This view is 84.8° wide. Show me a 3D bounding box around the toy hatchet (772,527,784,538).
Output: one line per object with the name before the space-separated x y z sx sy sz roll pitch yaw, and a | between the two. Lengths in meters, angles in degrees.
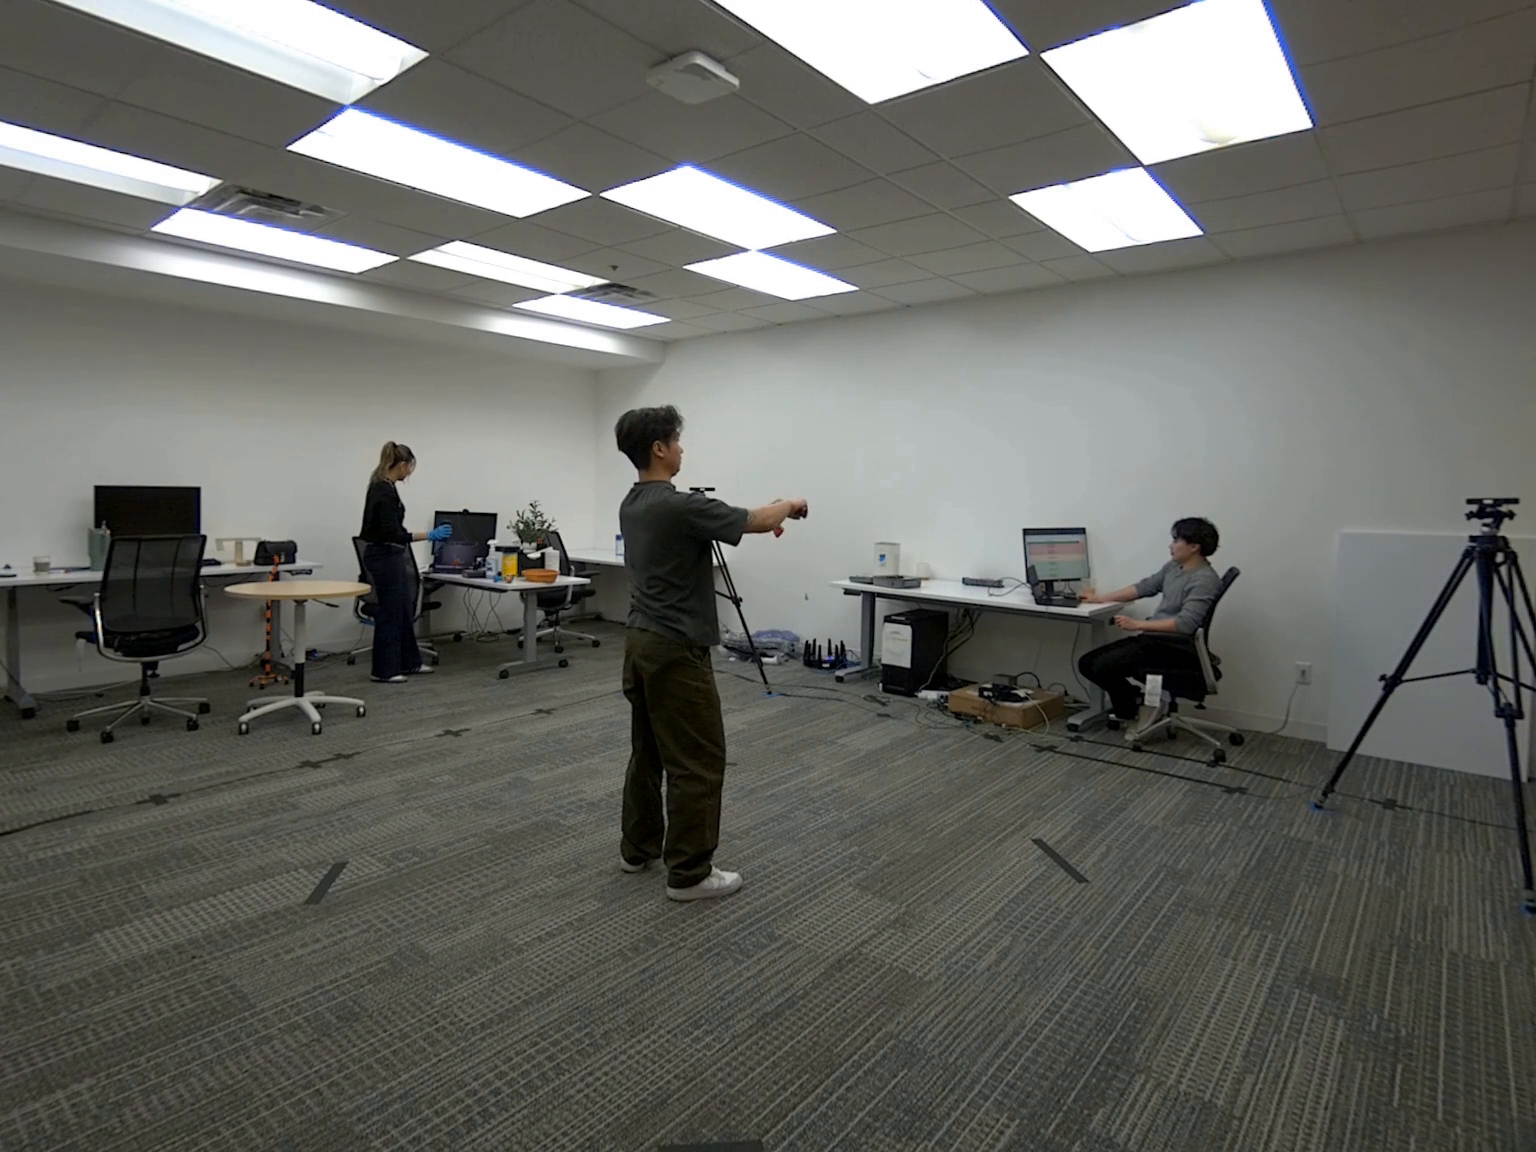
toy hatchet | 0.058 -0.191 3.222 0.029 0.130 0.275 6 7 -14
